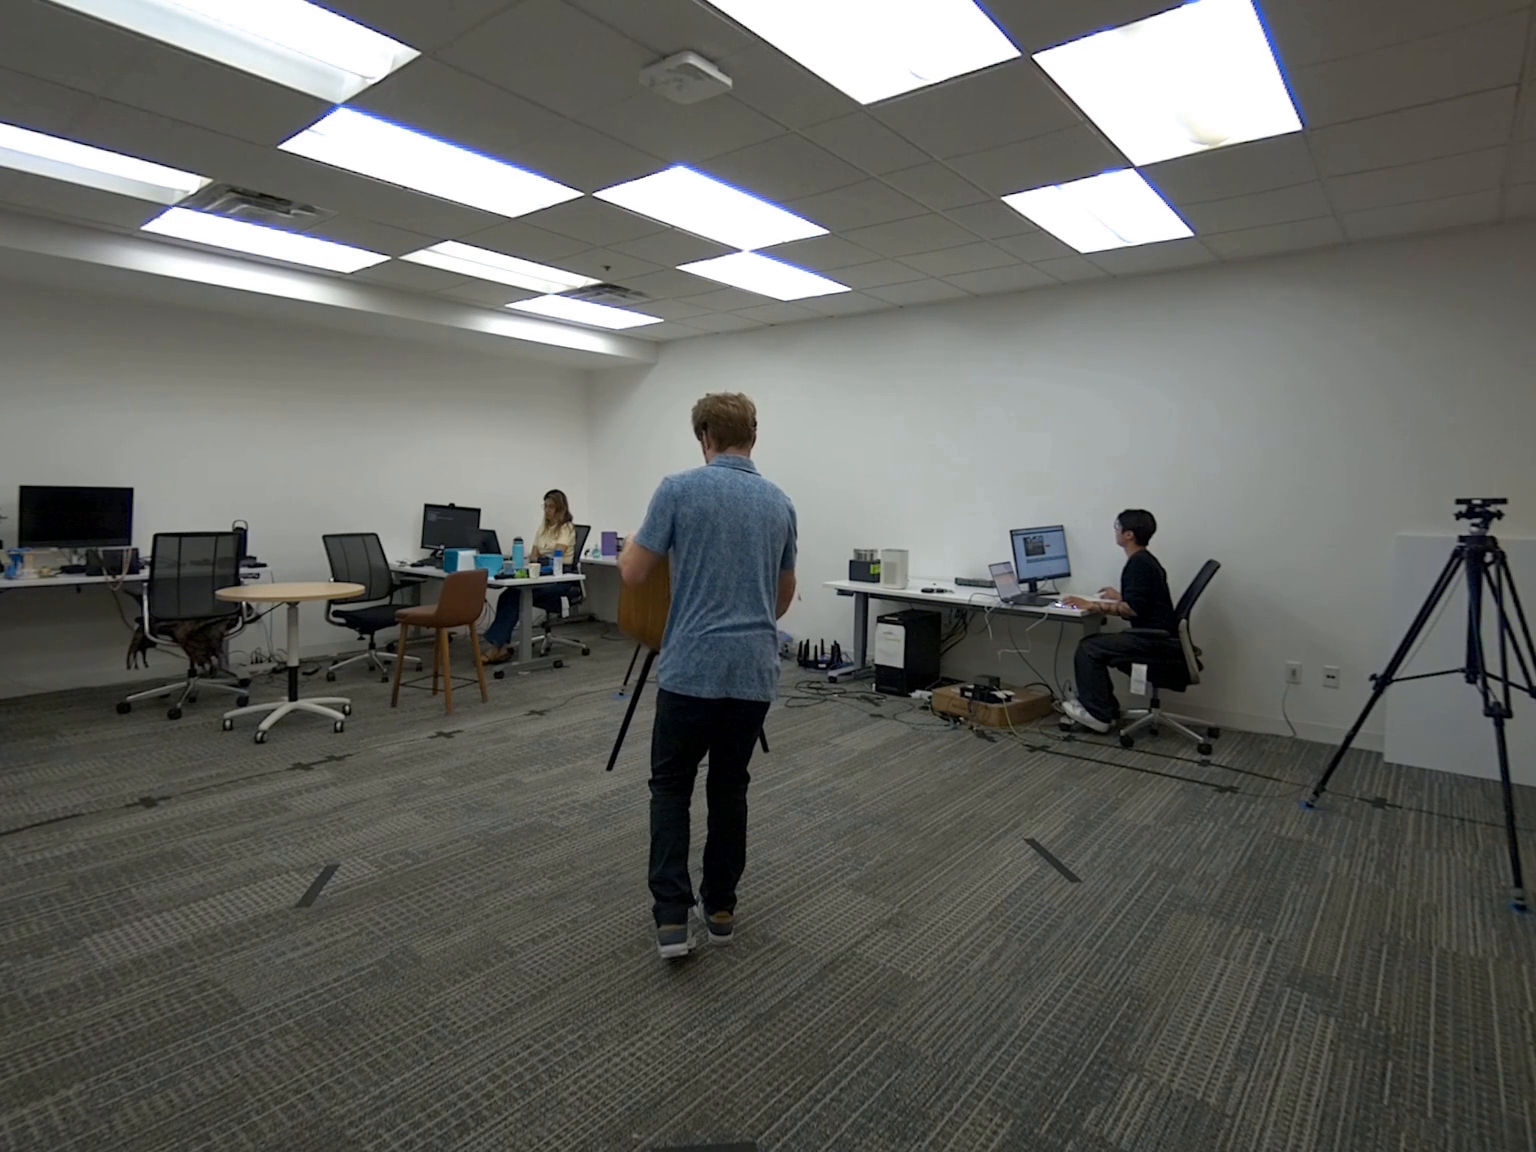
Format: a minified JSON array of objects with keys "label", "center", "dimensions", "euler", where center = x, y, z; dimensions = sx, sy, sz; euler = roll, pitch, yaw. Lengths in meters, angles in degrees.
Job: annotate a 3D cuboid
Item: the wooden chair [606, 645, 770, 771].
[{"label":"wooden chair","center":[-0.283,0.258,3.089],"dimensions":[0.490,0.868,0.516],"euler":[5,12,22]}]
